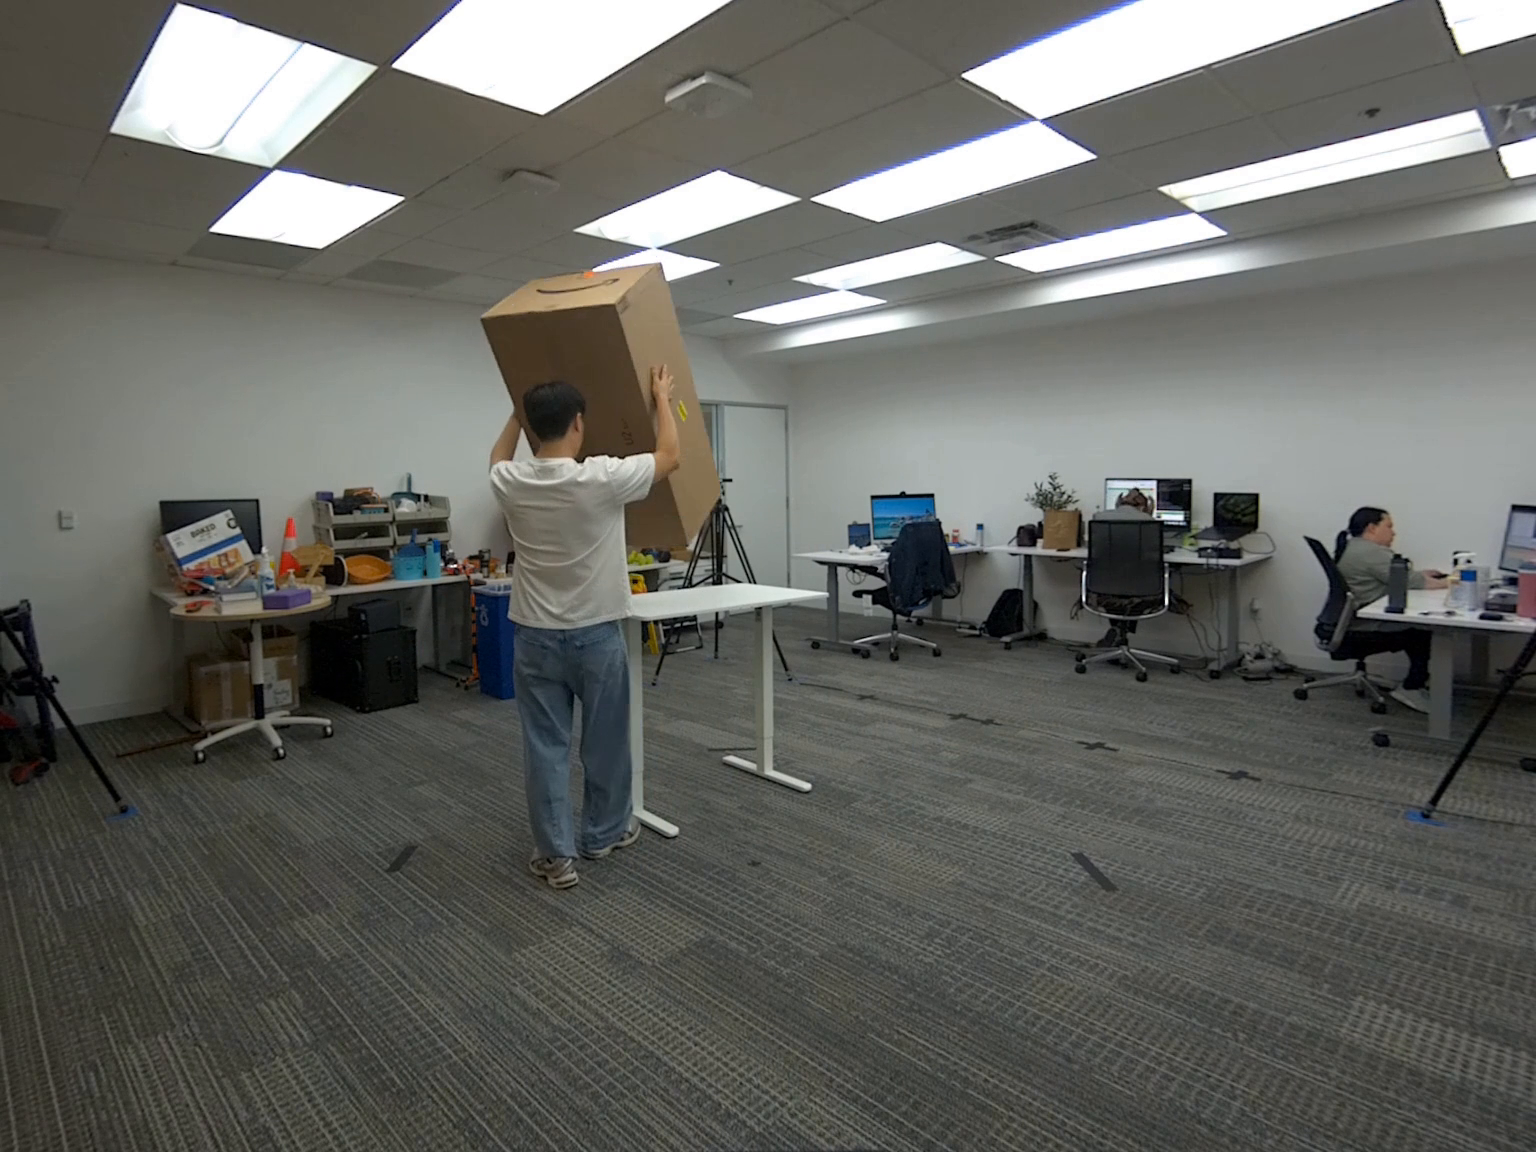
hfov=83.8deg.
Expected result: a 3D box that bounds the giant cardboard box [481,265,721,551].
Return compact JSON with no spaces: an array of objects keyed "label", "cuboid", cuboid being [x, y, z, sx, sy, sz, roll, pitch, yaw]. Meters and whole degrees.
[{"label":"giant cardboard box","cuboid":[-0.623,-0.638,3.420,0.590,0.995,0.430,1,36,23]}]
